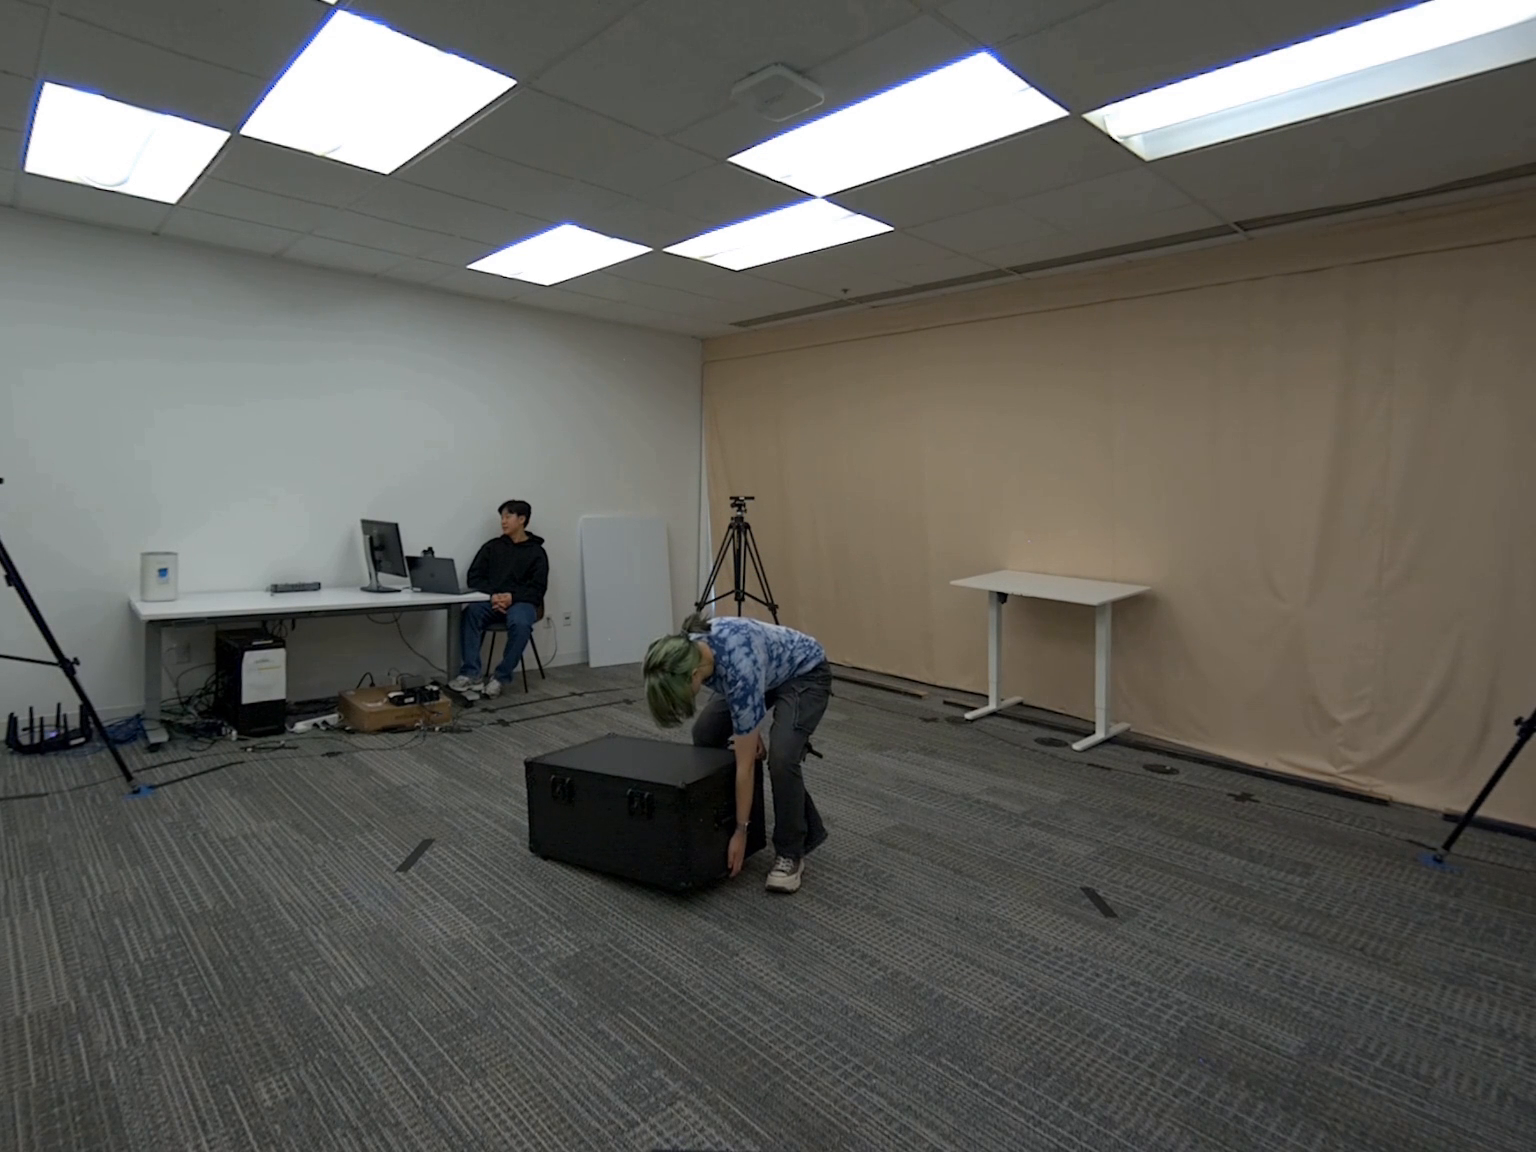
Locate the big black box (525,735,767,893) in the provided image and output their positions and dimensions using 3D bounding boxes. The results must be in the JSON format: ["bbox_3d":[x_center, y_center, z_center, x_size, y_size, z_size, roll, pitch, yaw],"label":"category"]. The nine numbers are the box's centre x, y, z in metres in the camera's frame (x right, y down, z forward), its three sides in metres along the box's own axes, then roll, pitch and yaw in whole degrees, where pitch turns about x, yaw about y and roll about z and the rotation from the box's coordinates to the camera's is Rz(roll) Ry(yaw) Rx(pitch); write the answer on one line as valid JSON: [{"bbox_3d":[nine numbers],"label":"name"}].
[{"bbox_3d":[-0.502,0.874,3.211,0.881,0.395,0.510,1,4,35],"label":"big black box"}]
